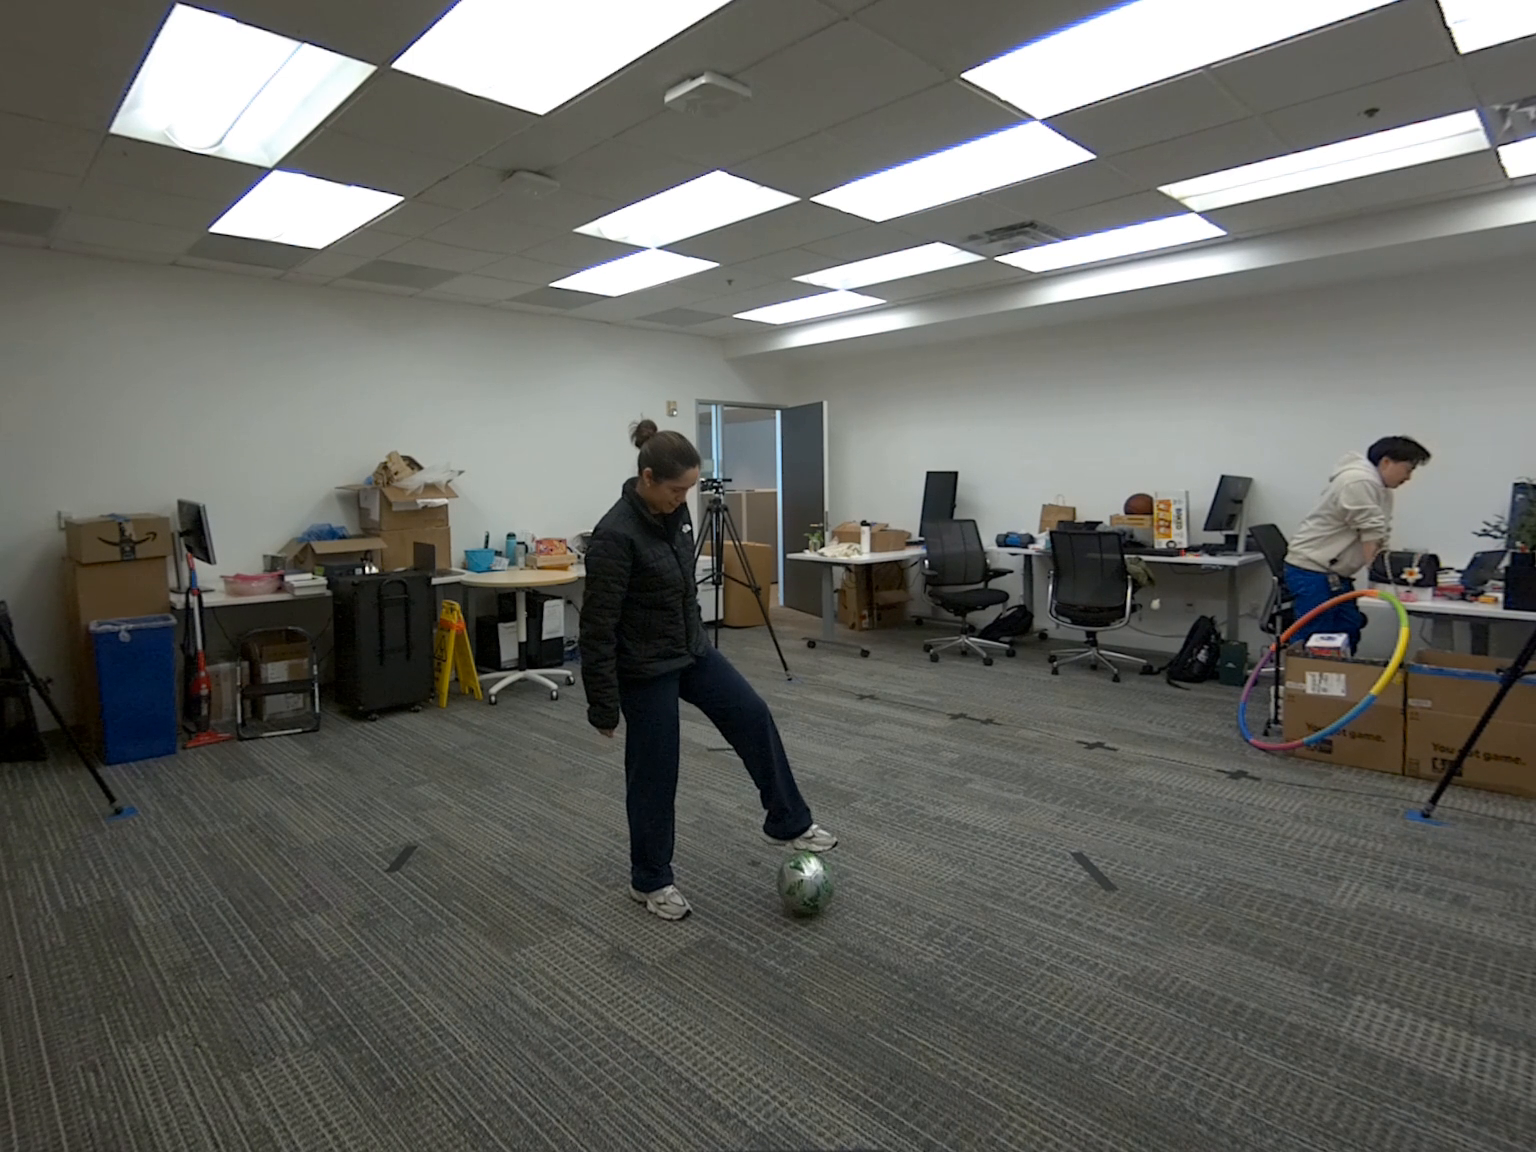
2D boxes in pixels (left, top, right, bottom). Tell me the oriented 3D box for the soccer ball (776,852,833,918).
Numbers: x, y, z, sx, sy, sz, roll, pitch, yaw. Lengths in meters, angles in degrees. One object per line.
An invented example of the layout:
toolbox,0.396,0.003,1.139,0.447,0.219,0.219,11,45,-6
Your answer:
soccer ball,0.120,0.980,2.756,0.187,0.187,0.188,-1,5,-2
